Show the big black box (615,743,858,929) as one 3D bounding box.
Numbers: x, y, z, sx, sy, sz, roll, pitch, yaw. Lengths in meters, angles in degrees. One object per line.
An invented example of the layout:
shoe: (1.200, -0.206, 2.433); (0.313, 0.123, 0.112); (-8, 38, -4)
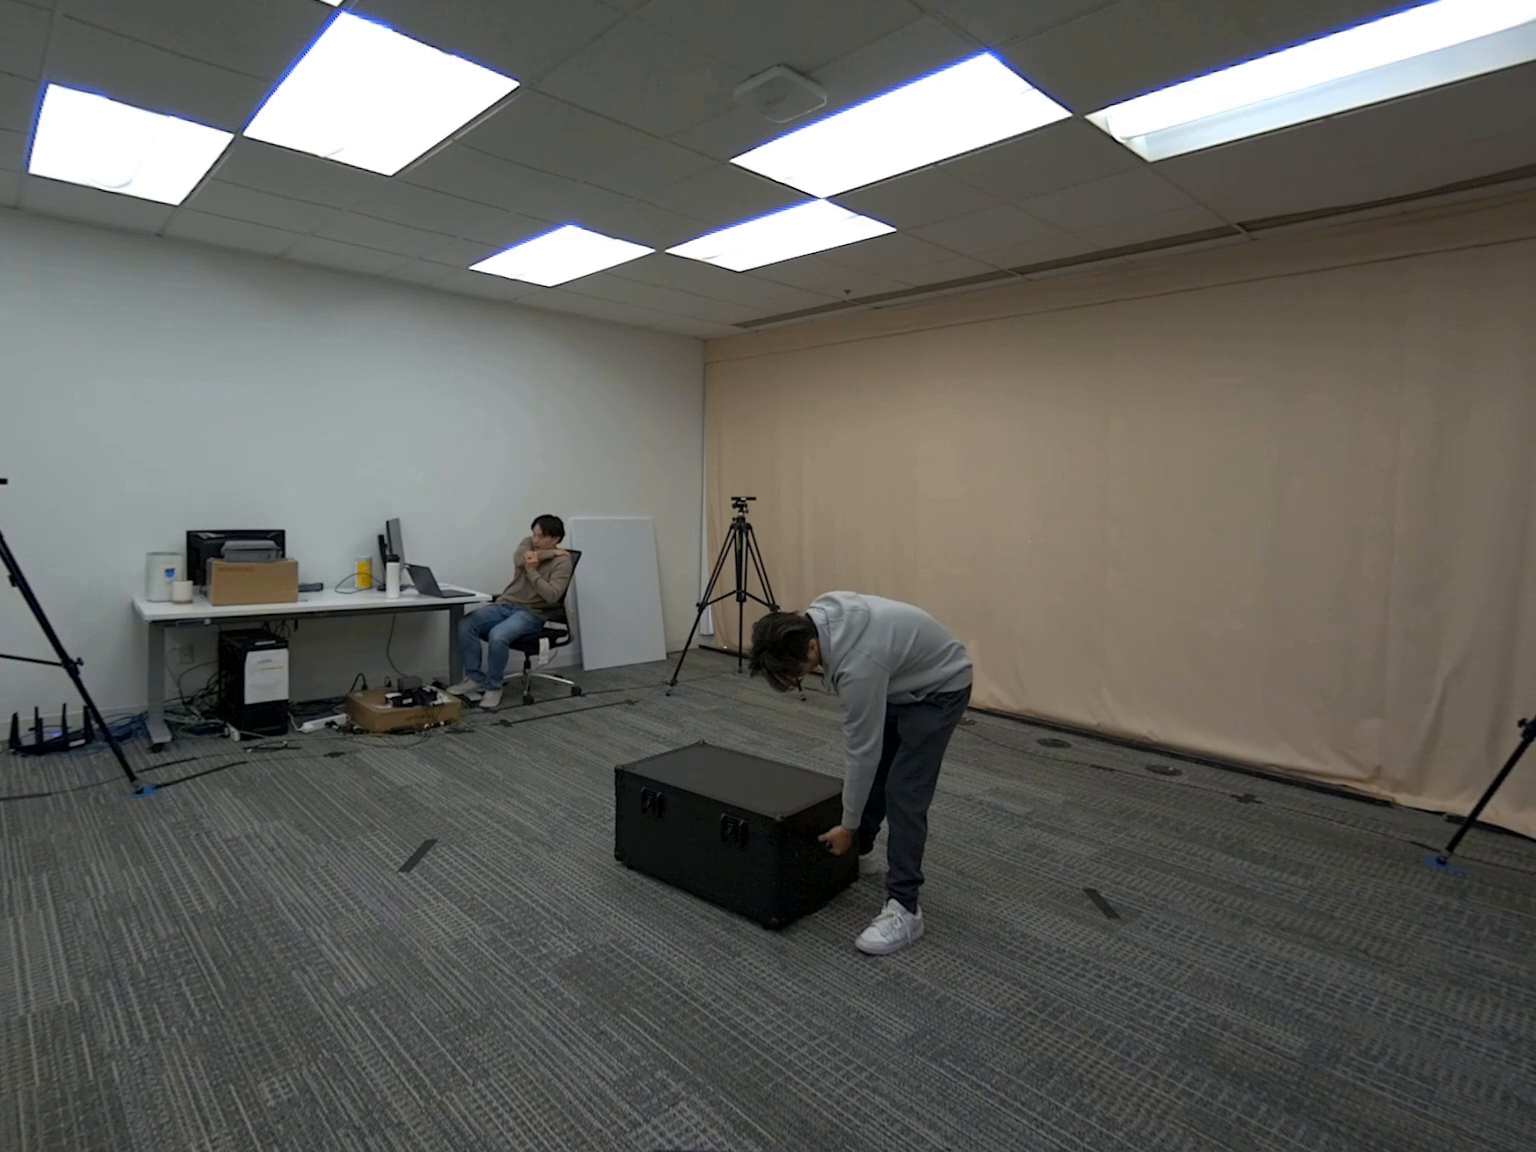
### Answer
big black box: (-0.154, 0.917, 3.121); (0.883, 0.395, 0.510); (6, 6, 39)
